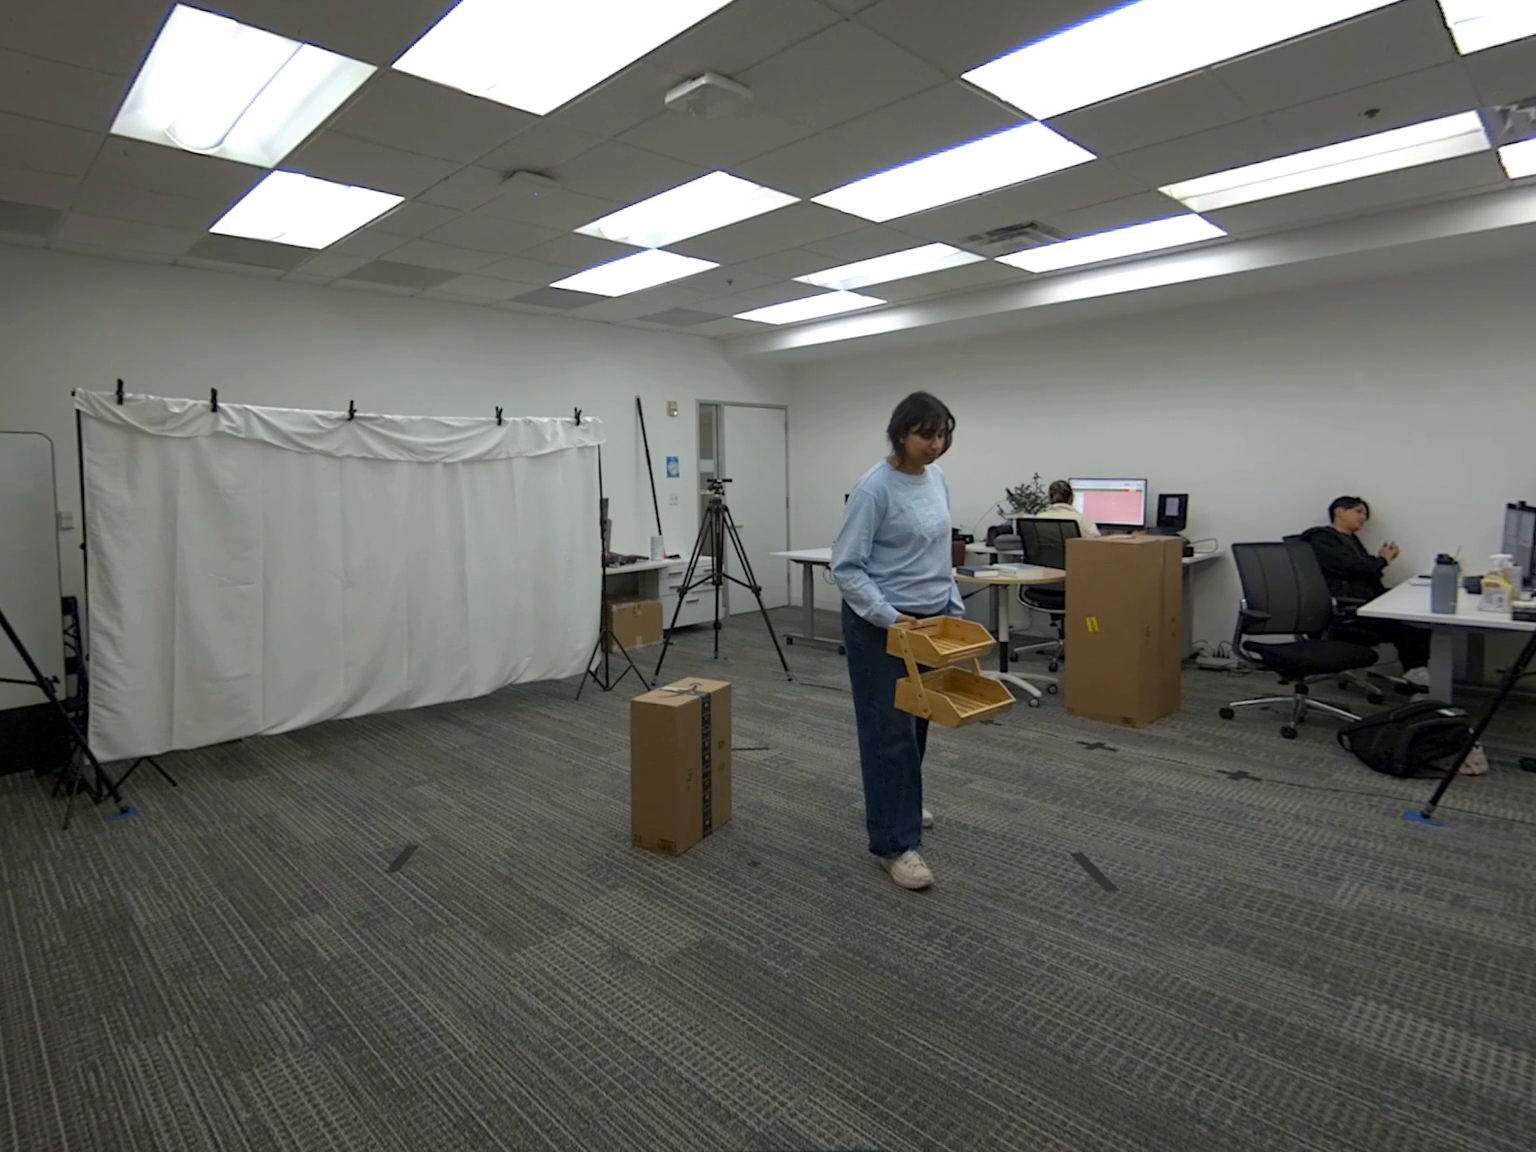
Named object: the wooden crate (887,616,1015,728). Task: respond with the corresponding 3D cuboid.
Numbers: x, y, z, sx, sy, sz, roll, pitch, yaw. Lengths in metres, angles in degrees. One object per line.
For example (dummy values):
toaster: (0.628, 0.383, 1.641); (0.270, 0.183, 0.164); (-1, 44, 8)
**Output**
wooden crate: (0.606, 0.302, 2.763); (0.316, 0.271, 0.312); (-5, 12, -43)
